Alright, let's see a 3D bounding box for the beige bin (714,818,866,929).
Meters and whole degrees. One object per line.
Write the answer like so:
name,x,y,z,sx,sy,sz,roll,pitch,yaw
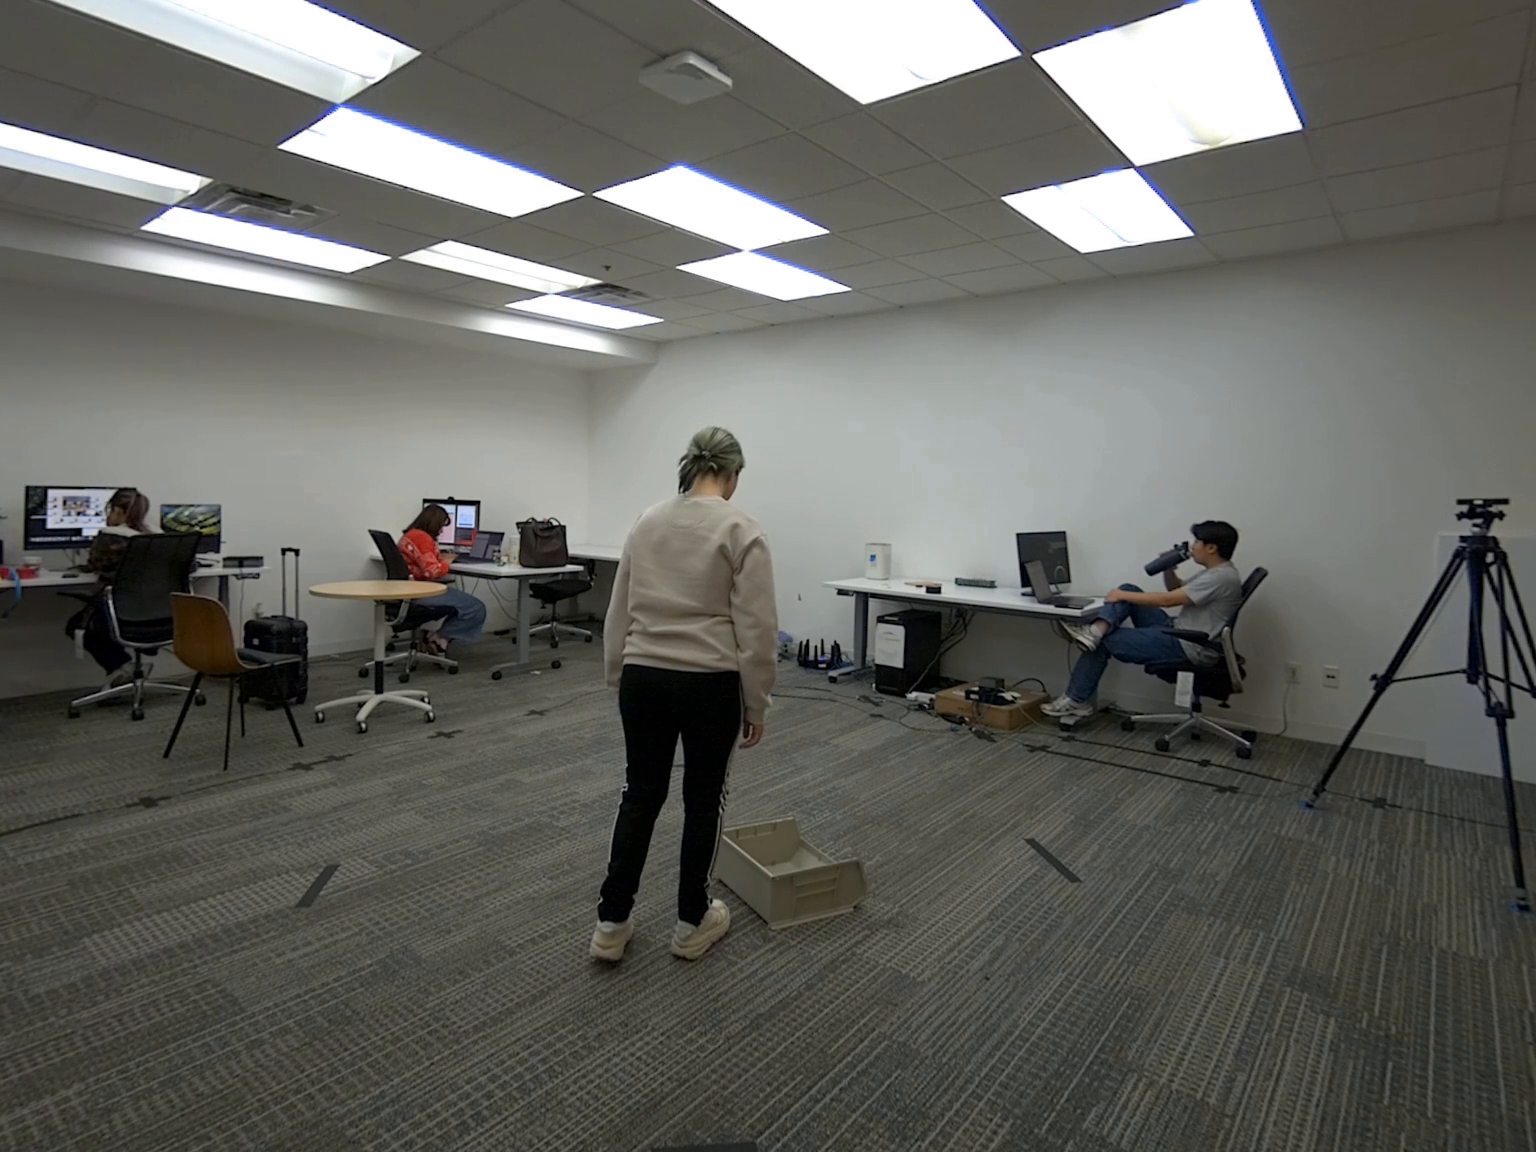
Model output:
beige bin,0.062,1.004,2.936,0.368,0.188,0.435,-2,7,-29
